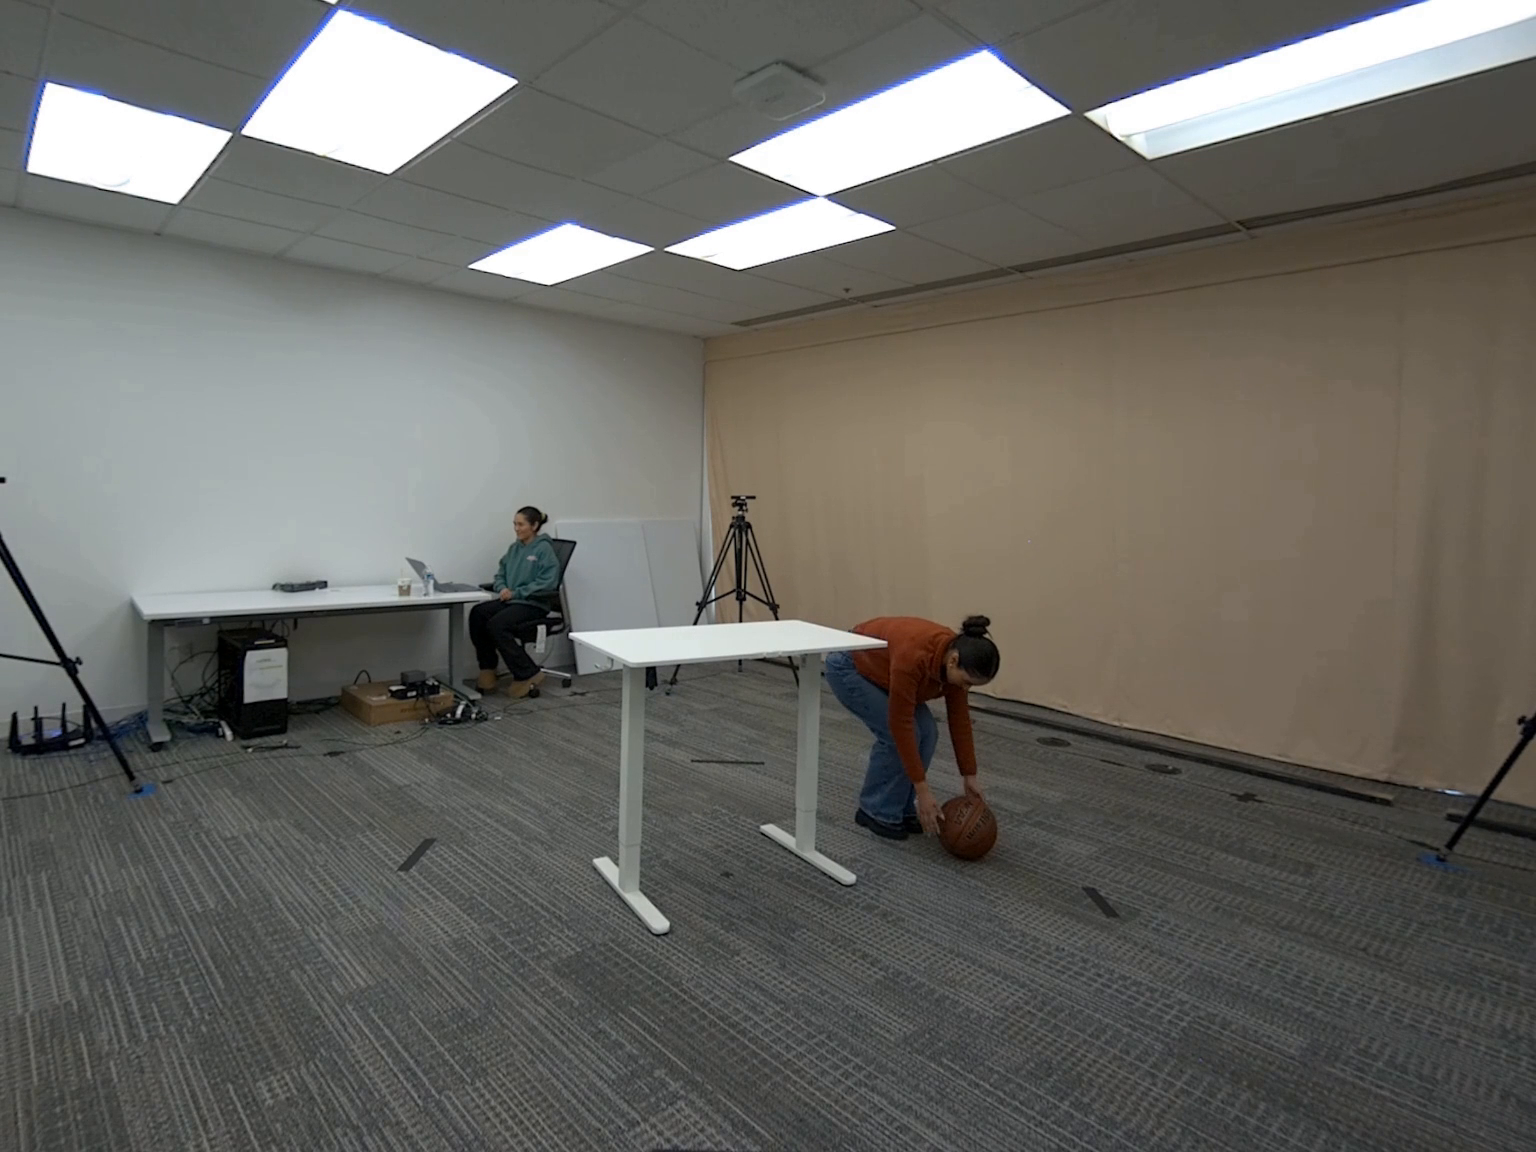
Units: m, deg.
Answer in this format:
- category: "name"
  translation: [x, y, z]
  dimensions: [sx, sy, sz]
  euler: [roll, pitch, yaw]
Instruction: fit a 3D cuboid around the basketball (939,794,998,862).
- category: "basketball"
  translation: [0.771, 0.983, 3.311]
  dimensions: [0.236, 0.235, 0.237]
  euler: [1, 4, -1]
